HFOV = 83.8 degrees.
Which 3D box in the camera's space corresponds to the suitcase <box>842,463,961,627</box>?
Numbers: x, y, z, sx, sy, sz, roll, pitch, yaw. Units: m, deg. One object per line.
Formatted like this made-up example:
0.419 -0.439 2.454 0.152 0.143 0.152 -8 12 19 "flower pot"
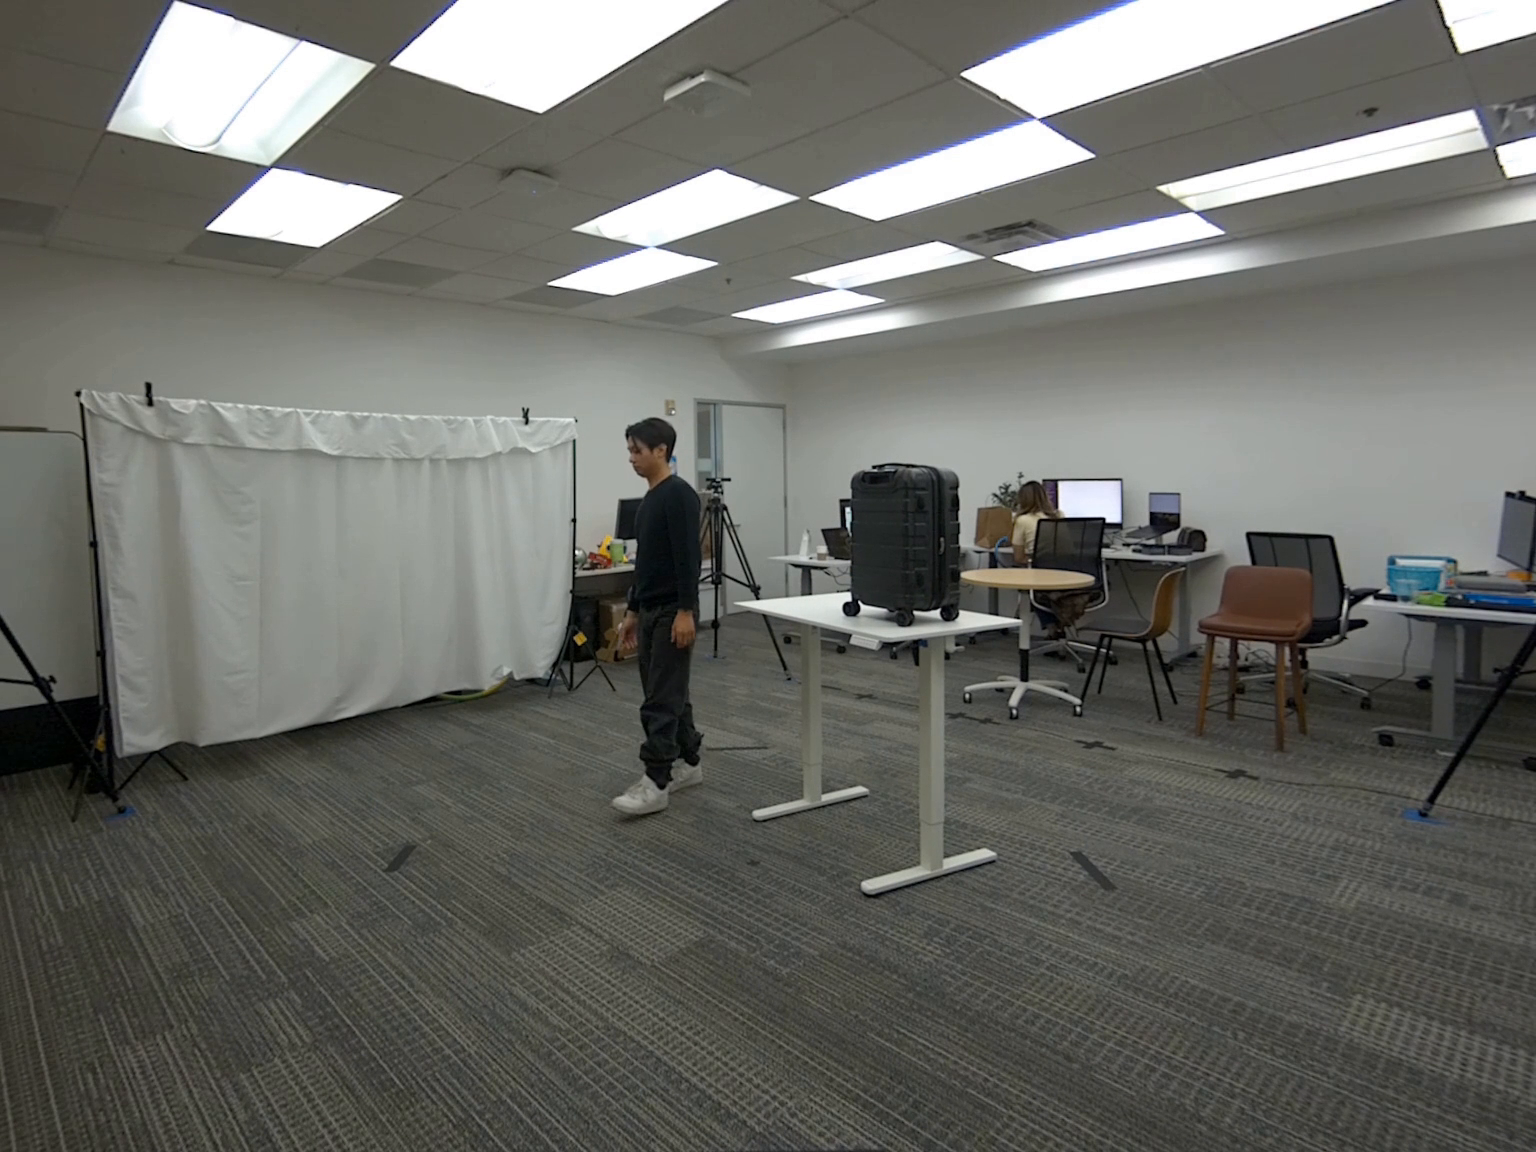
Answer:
0.478 -0.123 3.037 0.242 0.548 0.386 -2 3 -32 "suitcase"
